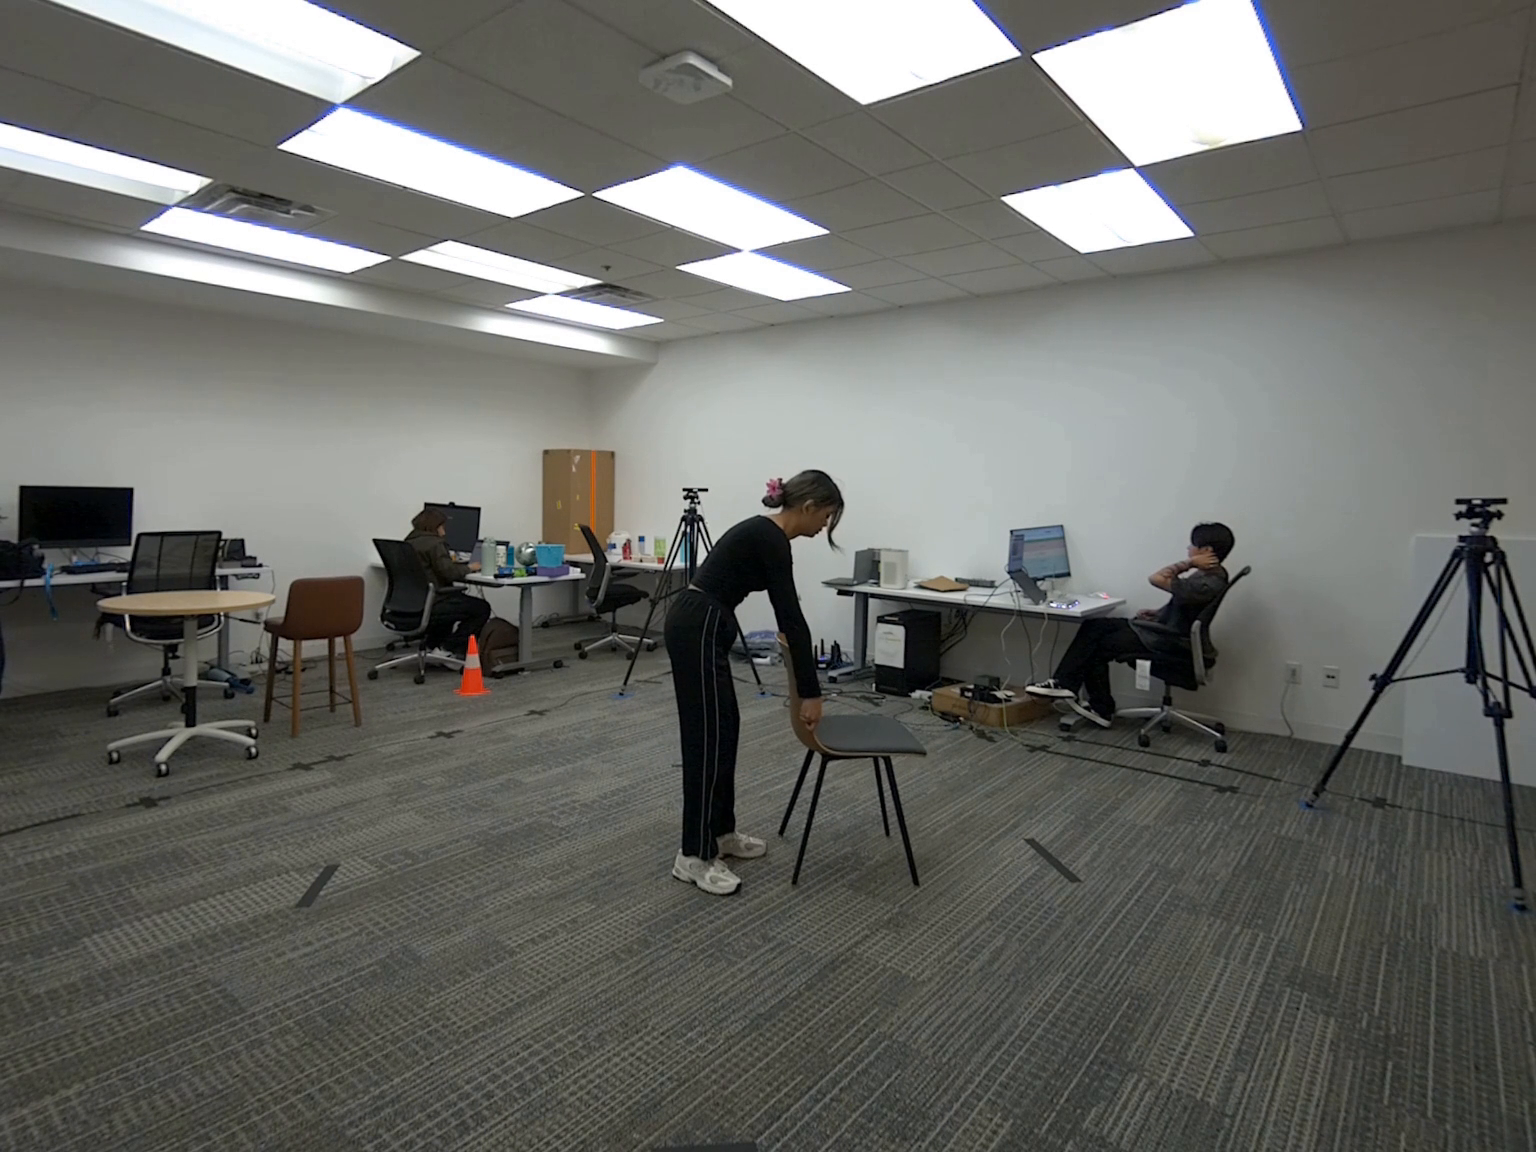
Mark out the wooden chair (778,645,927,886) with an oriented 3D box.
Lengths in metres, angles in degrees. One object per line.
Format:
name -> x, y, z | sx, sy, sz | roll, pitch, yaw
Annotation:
wooden chair -> 0.301, 0.643, 3.201 | 0.521, 0.875, 0.481 | -3, 3, -4
